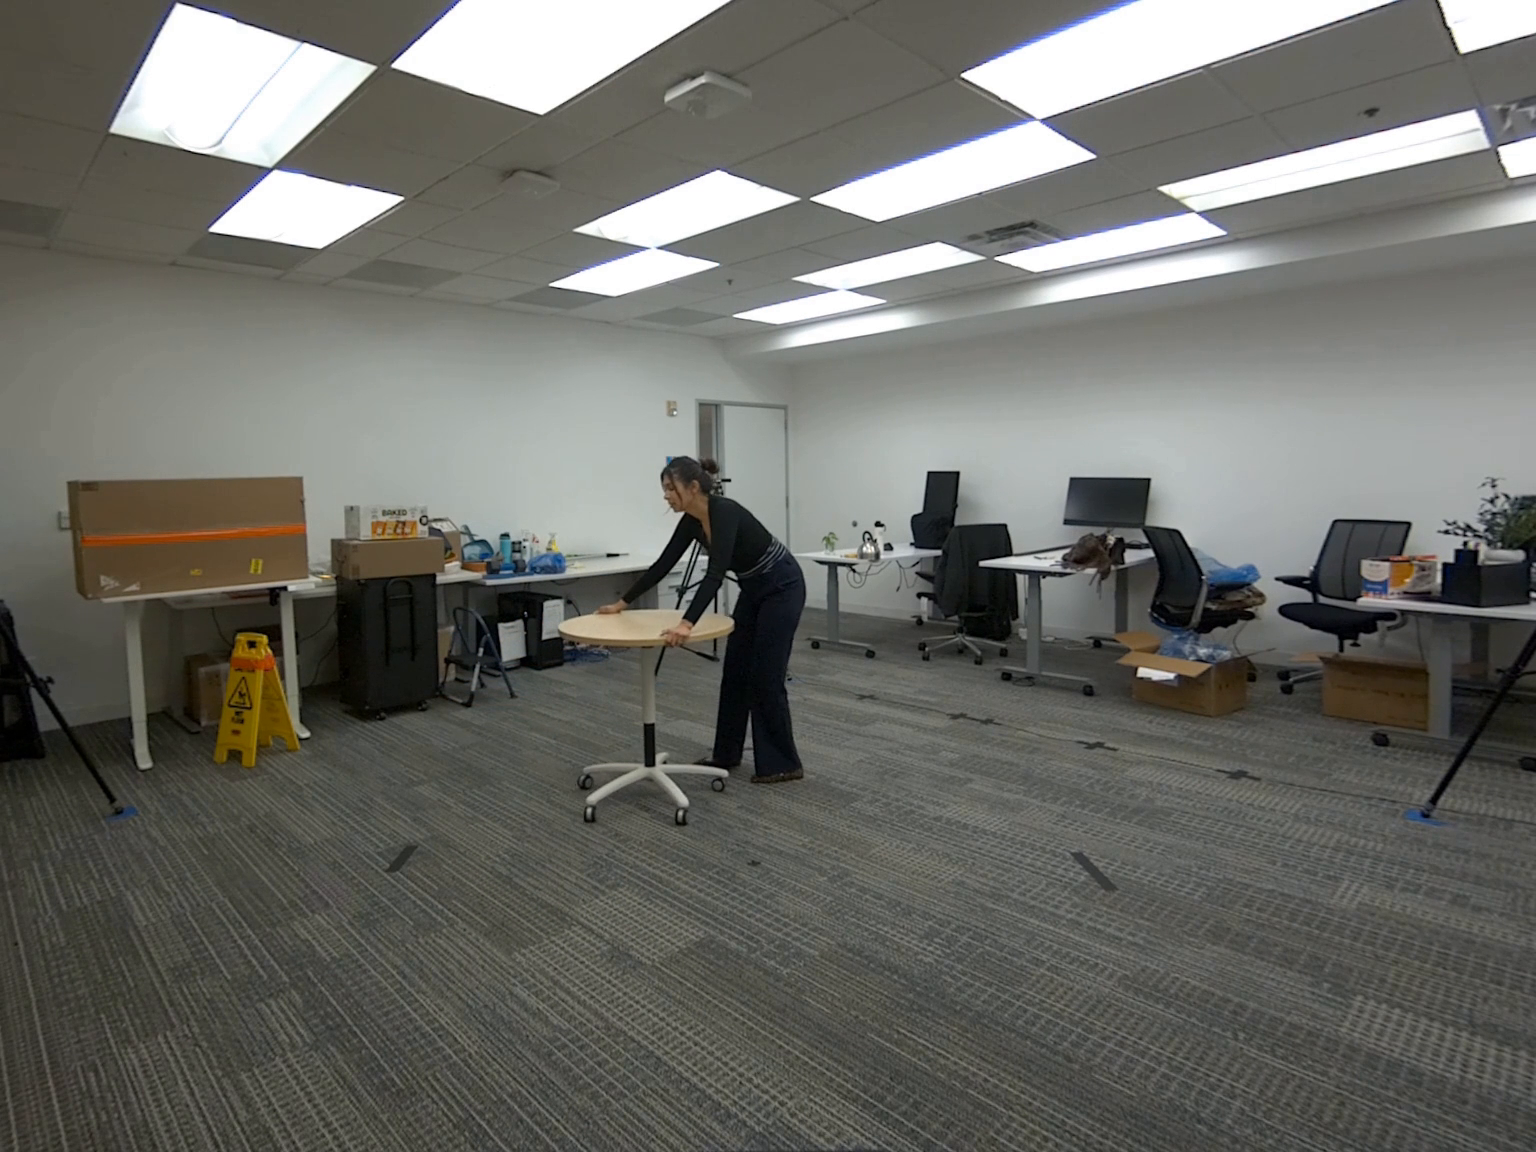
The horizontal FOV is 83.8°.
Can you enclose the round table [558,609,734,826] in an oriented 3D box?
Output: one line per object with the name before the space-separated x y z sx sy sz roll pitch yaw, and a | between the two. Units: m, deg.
round table | -0.525 0.595 3.748 0.763 0.791 0.768 -1 5 -2
